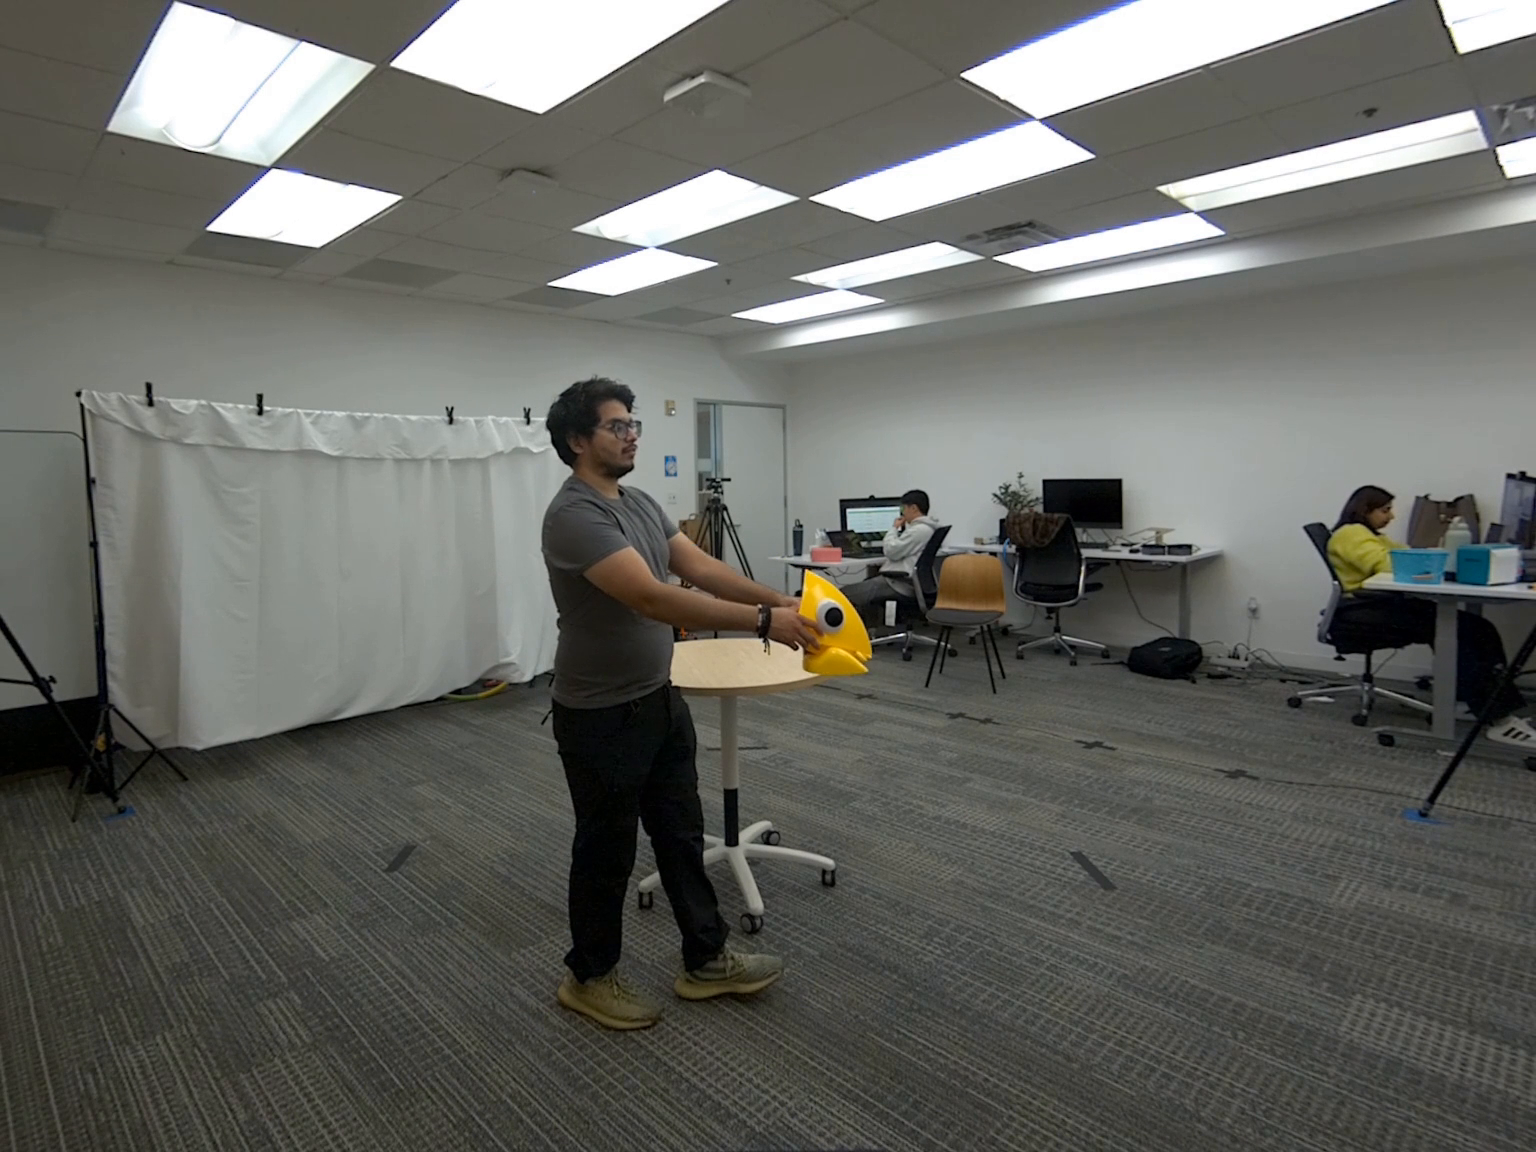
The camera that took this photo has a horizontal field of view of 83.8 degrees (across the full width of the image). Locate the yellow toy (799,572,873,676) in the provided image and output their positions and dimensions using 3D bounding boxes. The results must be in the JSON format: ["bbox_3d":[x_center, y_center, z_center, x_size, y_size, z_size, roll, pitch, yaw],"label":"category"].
[{"bbox_3d":[0.159,0.094,2.077,0.195,0.229,0.203,0,7,13],"label":"yellow toy"}]
